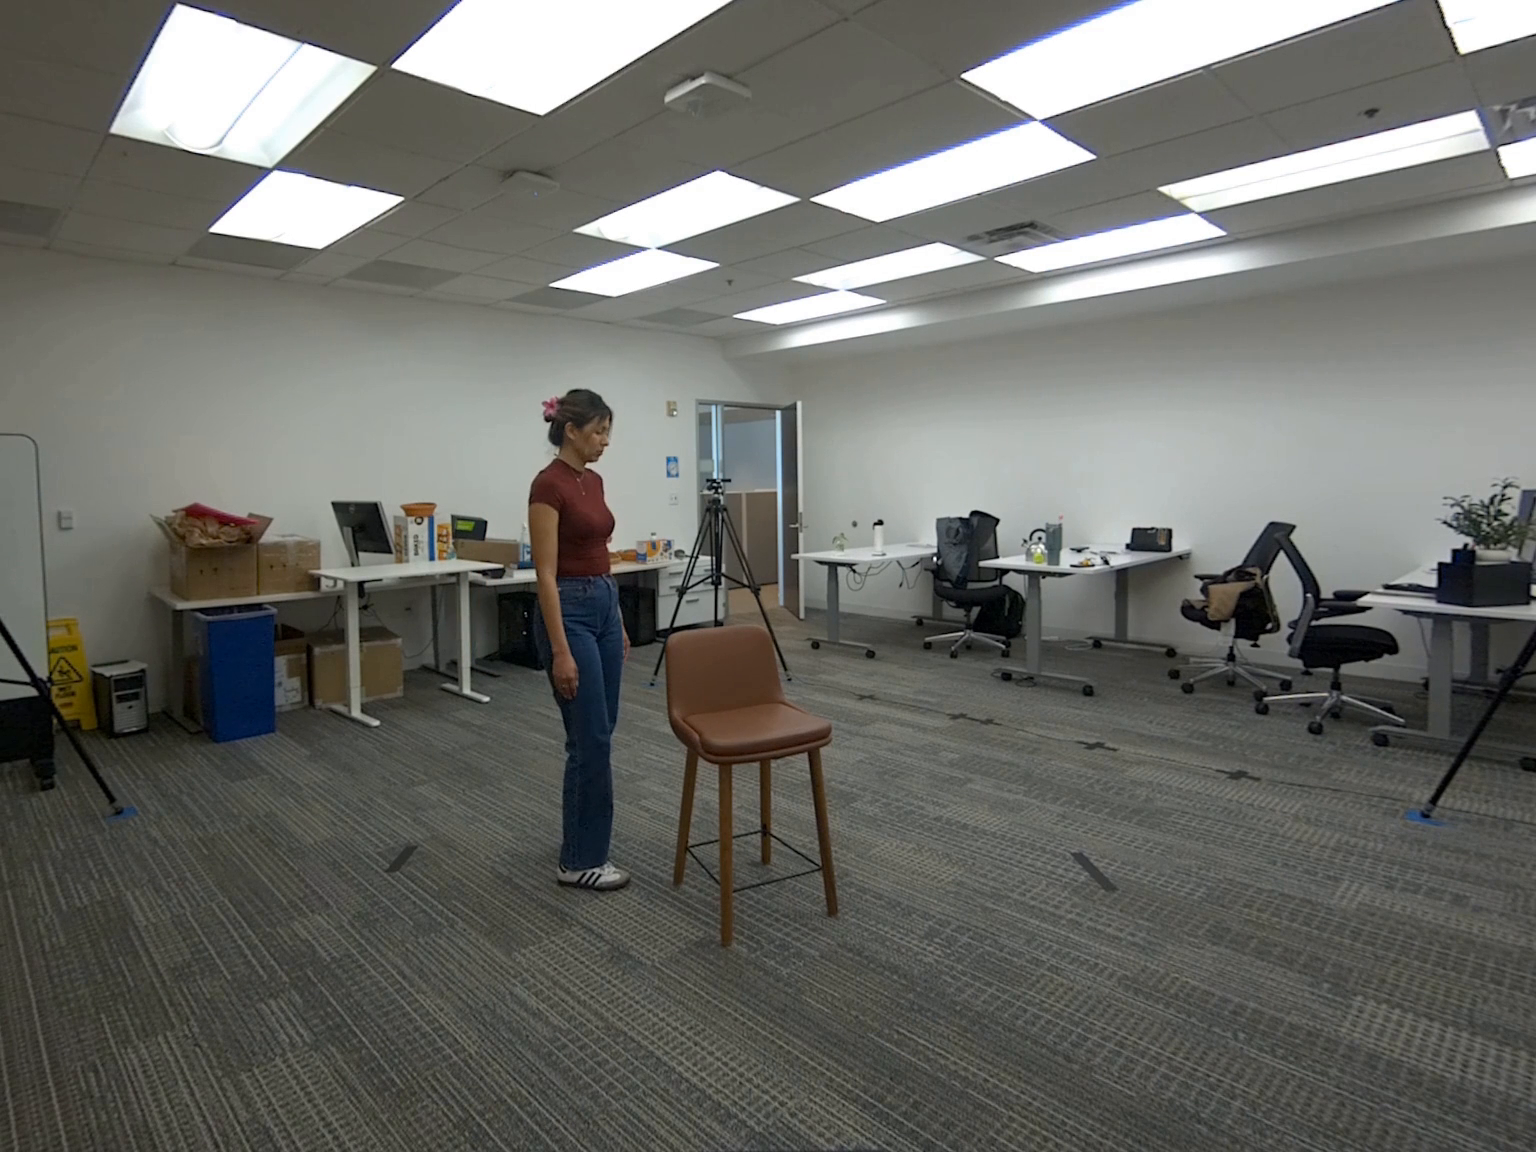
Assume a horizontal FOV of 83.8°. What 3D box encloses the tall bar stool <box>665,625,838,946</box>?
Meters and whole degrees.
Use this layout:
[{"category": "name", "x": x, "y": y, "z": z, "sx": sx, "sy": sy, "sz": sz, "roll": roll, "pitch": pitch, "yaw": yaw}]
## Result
[{"category": "tall bar stool", "x": -0.070, "y": 0.638, "z": 2.821, "sx": 0.446, "sy": 0.888, "sz": 0.479, "roll": -3, "pitch": 3, "yaw": -28}]
